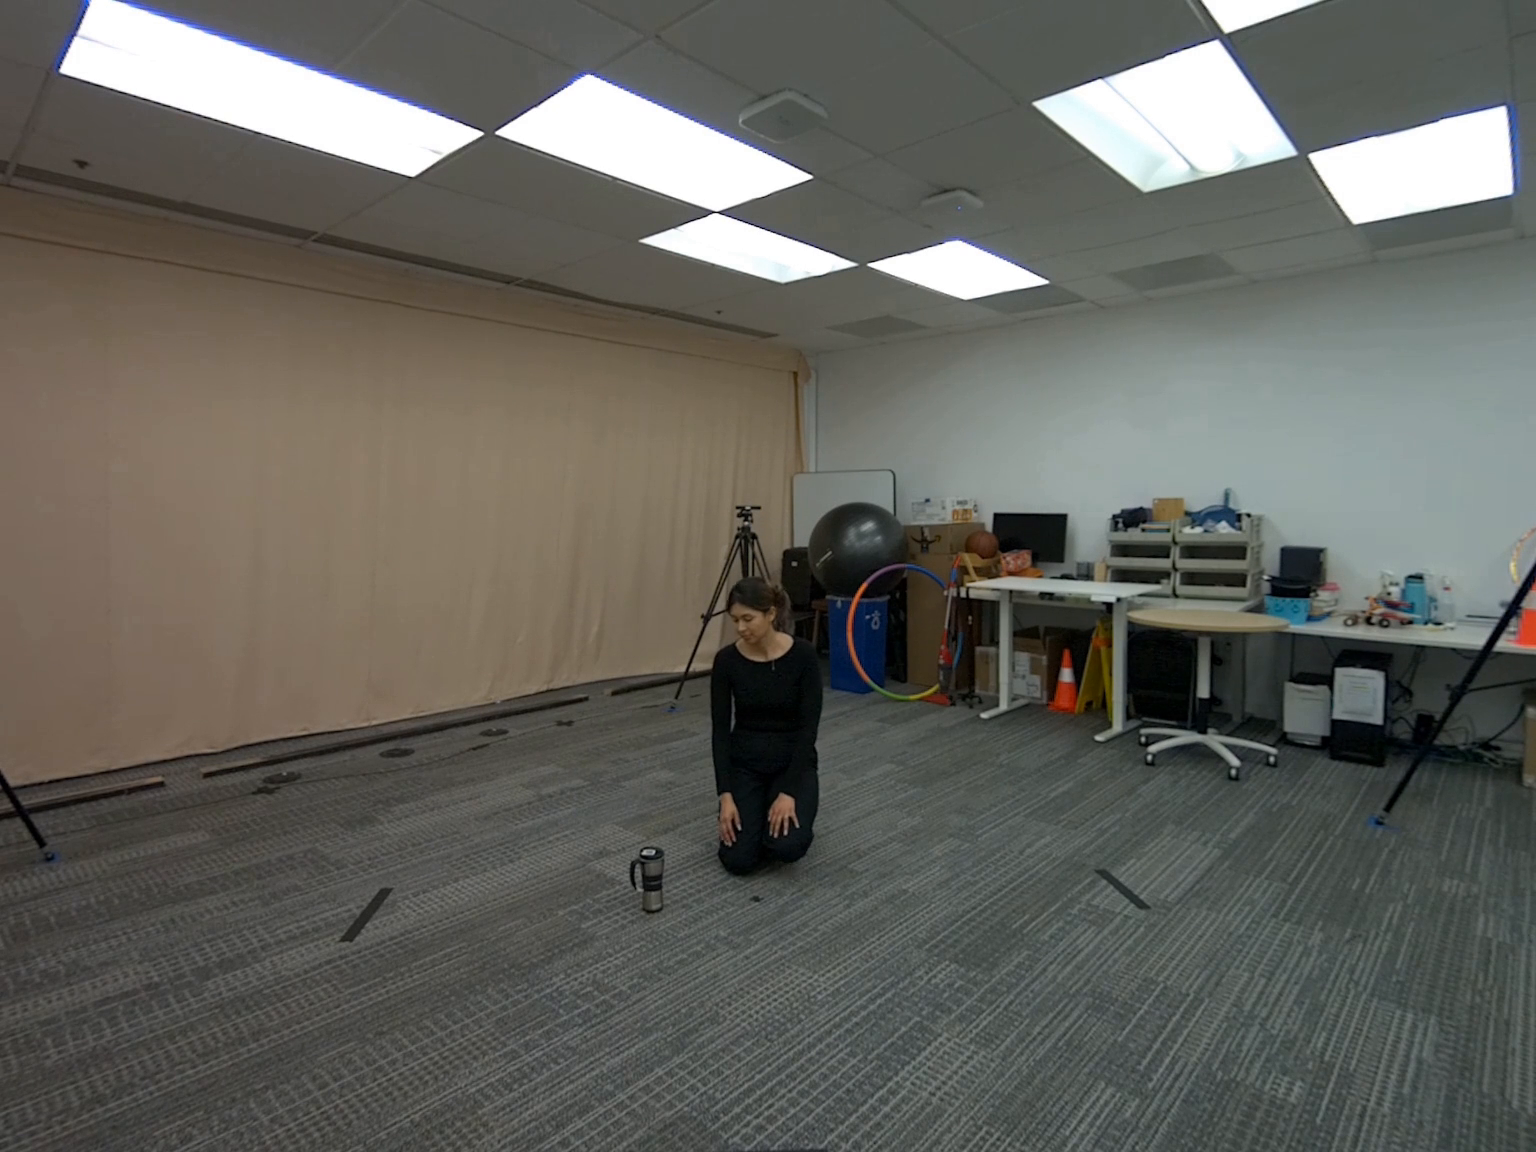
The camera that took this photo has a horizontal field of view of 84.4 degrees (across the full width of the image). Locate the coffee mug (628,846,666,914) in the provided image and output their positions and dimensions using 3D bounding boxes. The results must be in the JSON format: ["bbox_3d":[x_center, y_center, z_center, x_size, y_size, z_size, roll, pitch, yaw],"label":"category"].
[{"bbox_3d":[-0.423,1.053,2.908,0.121,0.202,0.088,2,4,-4],"label":"coffee mug"}]
